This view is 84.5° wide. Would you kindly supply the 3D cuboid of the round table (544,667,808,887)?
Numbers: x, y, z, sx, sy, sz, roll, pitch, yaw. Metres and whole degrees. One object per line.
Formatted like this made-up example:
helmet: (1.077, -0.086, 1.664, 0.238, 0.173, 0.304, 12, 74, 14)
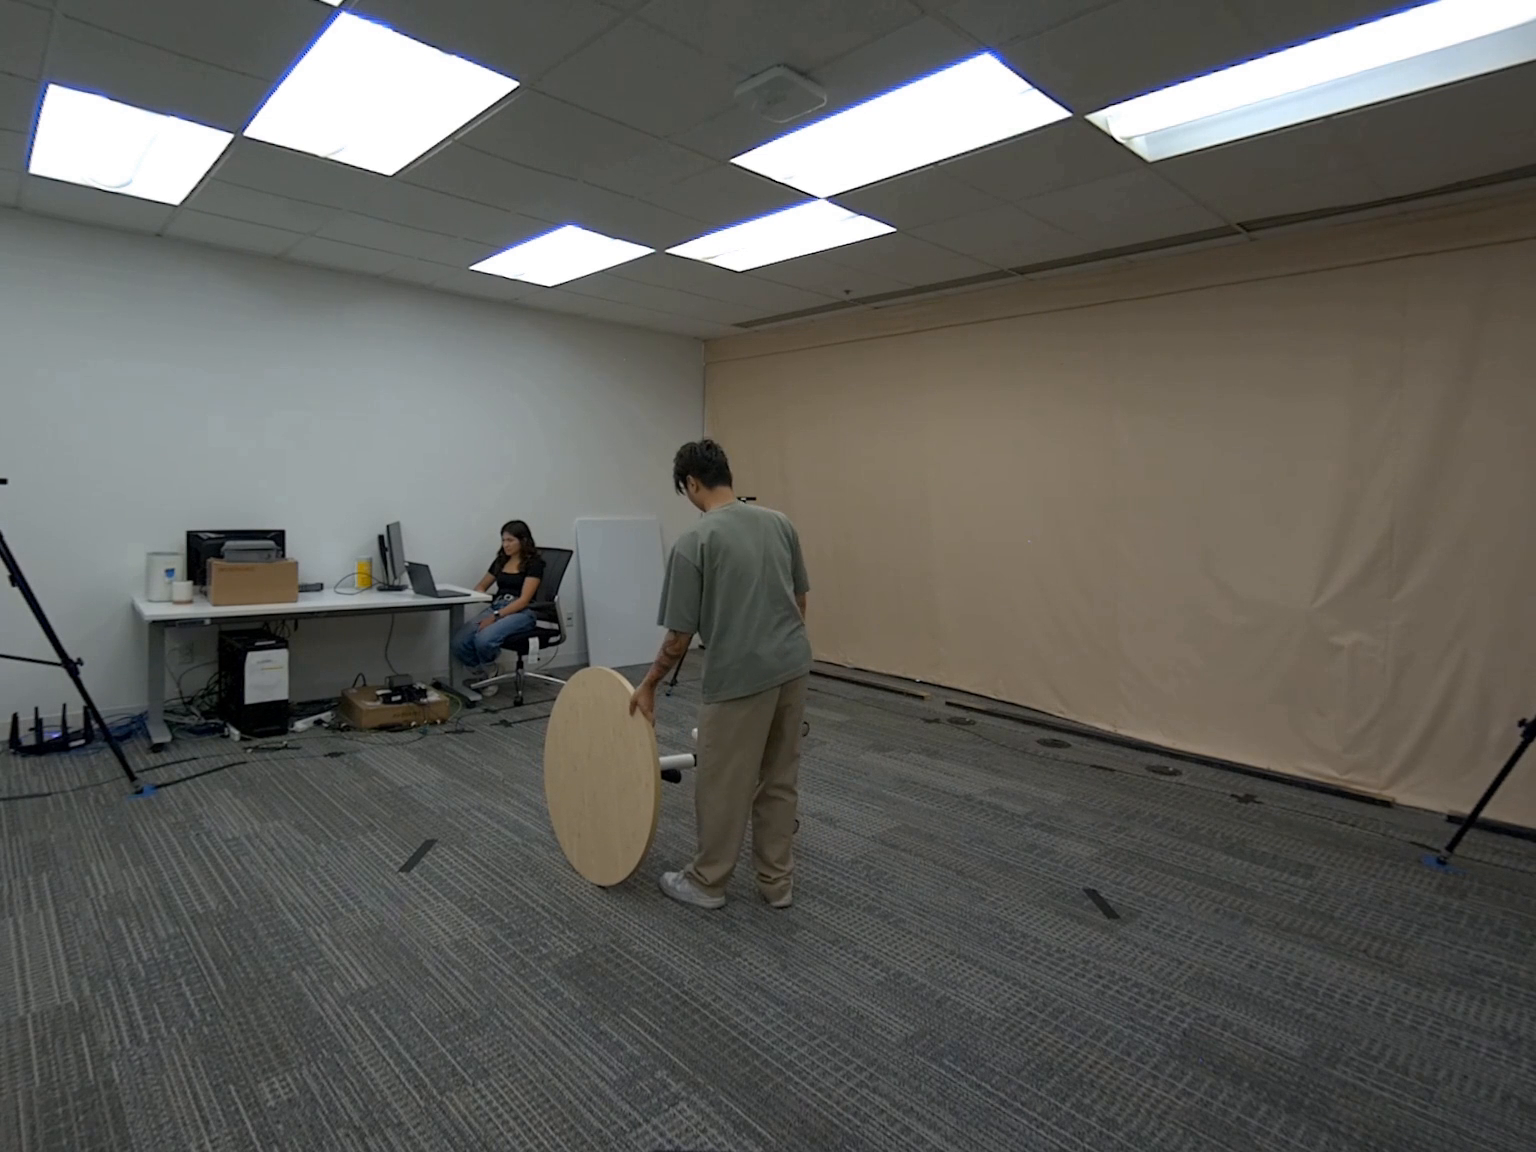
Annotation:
round table: (-0.346, 0.736, 3.308, 0.766, 0.785, 0.805, 5, 1, -41)
